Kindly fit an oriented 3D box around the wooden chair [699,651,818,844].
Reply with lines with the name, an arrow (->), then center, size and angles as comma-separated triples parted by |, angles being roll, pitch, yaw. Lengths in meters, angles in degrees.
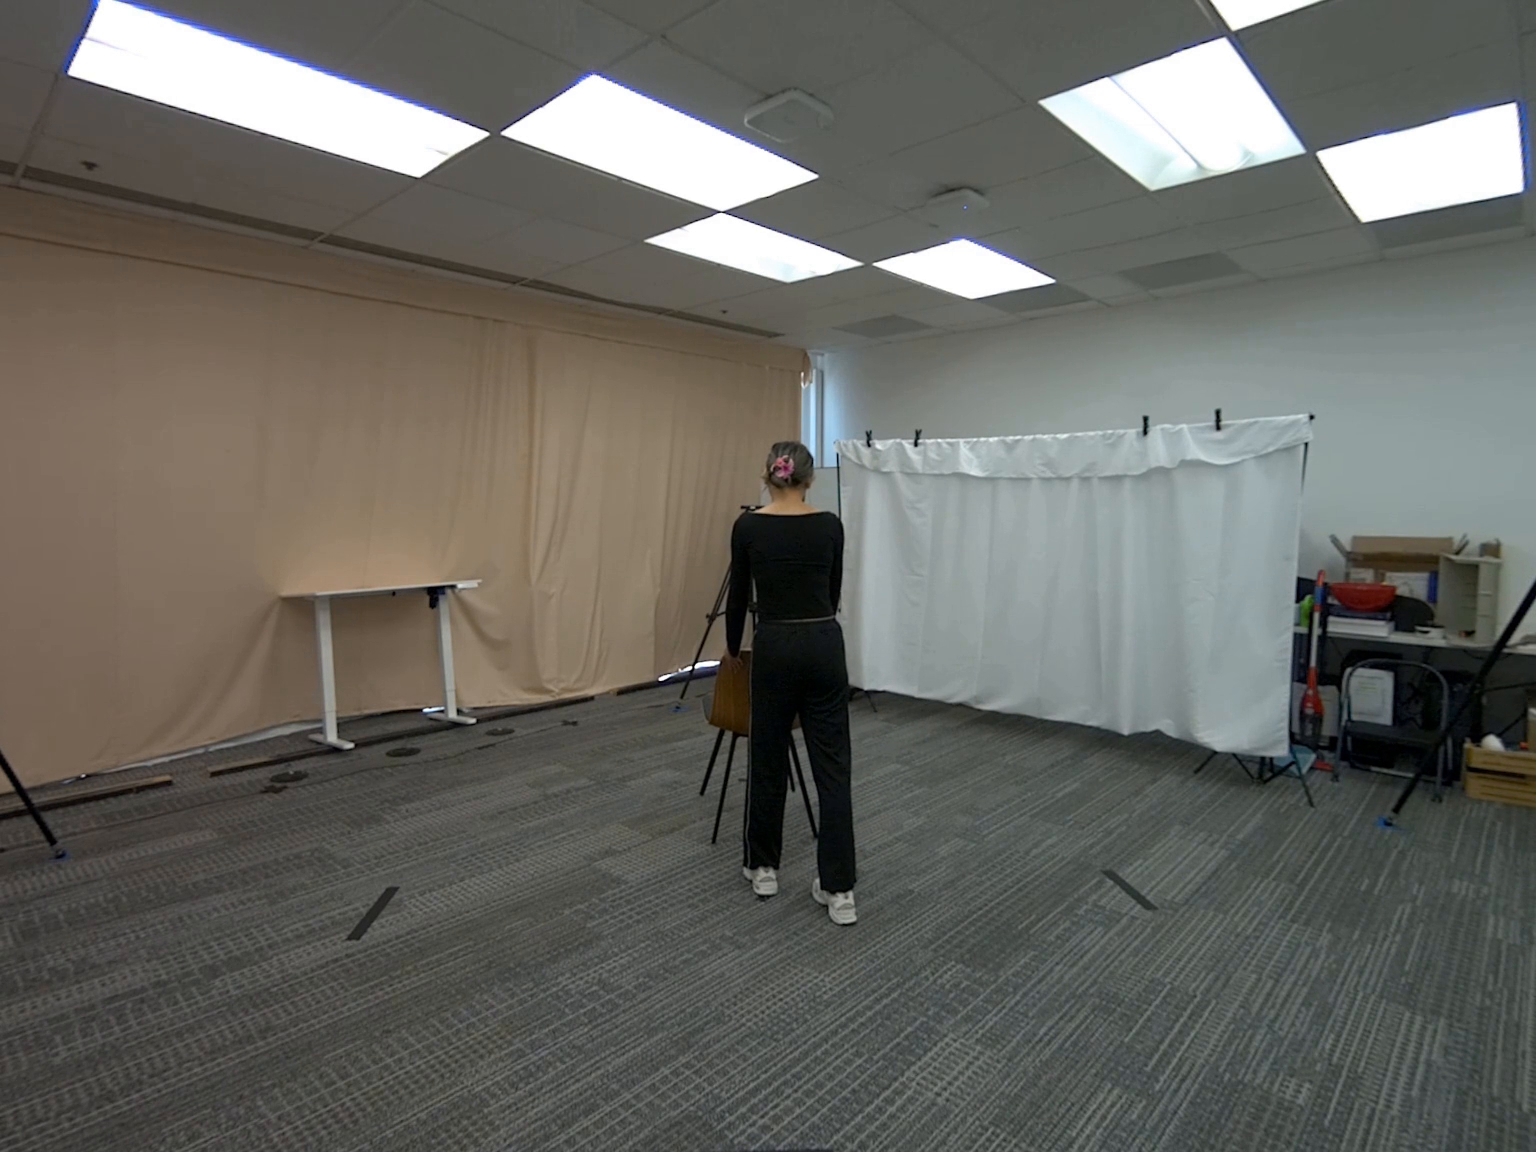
wooden chair -> -0.049, 0.637, 3.648 | 0.474, 0.870, 0.532 | -1, 14, -9
